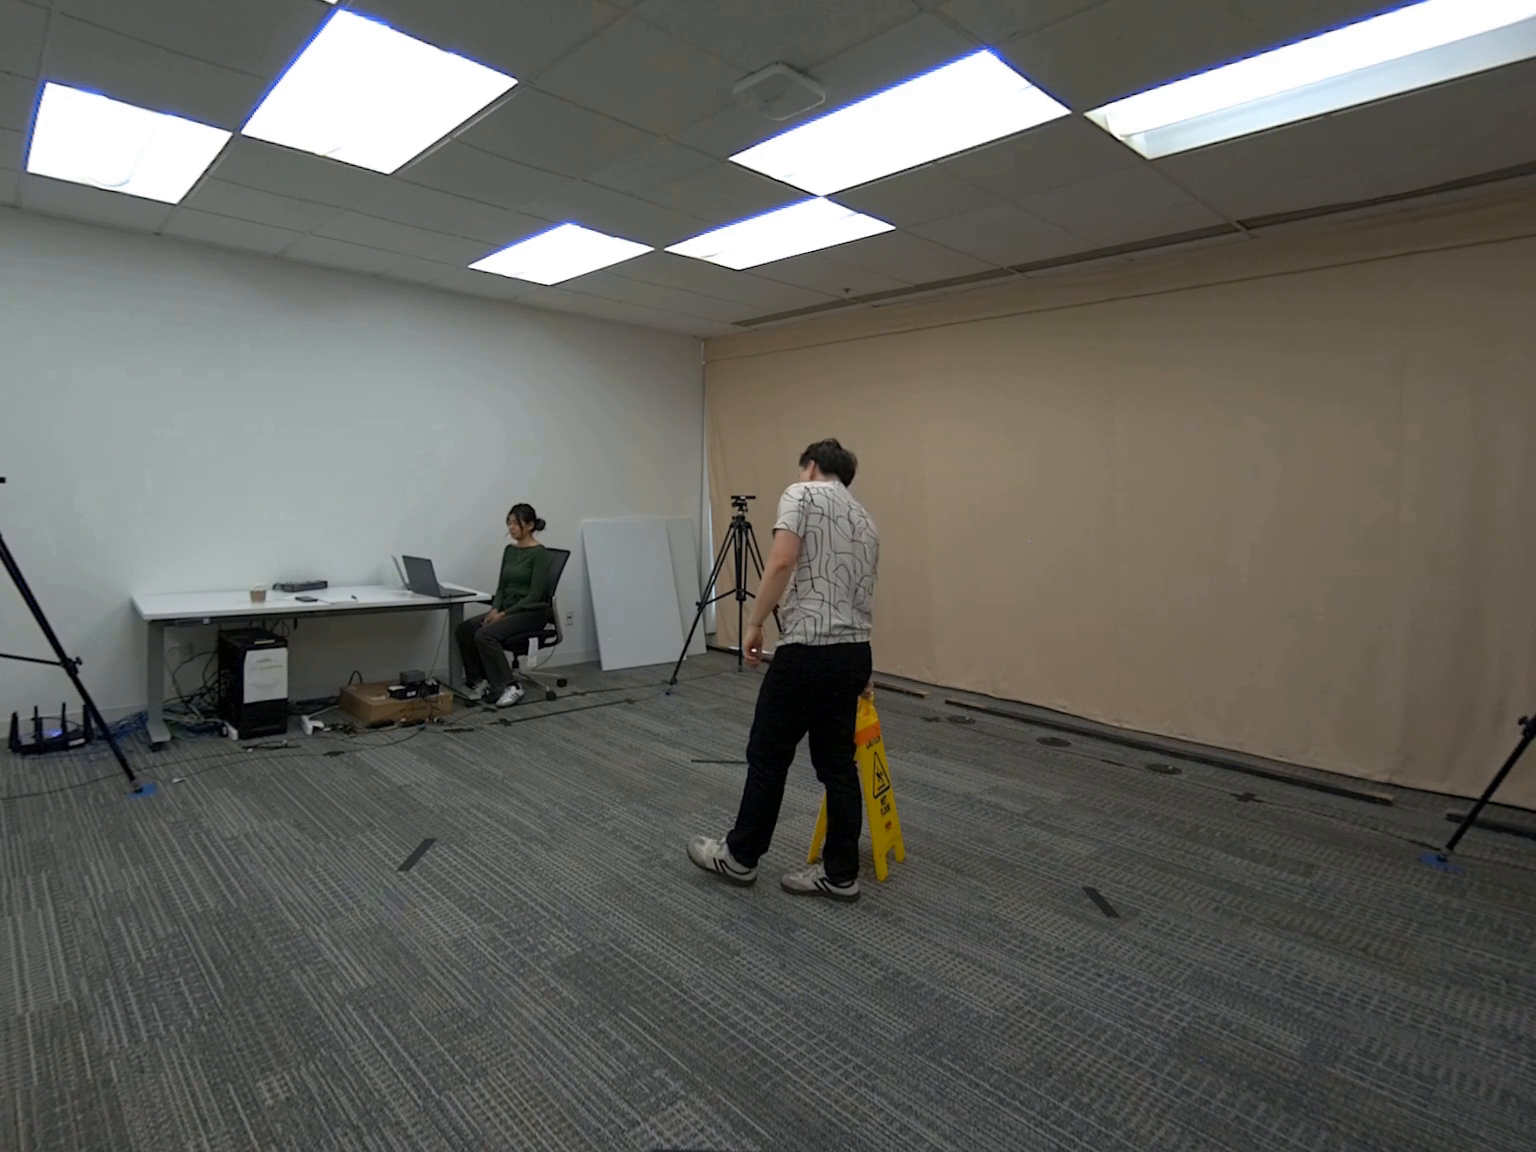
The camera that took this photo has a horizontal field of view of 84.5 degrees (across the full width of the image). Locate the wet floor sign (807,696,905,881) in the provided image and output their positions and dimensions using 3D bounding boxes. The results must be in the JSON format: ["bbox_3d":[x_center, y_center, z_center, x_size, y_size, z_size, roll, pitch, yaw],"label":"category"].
[{"bbox_3d":[0.343,0.778,3.245,0.296,0.645,0.277,2,2,29],"label":"wet floor sign"}]
